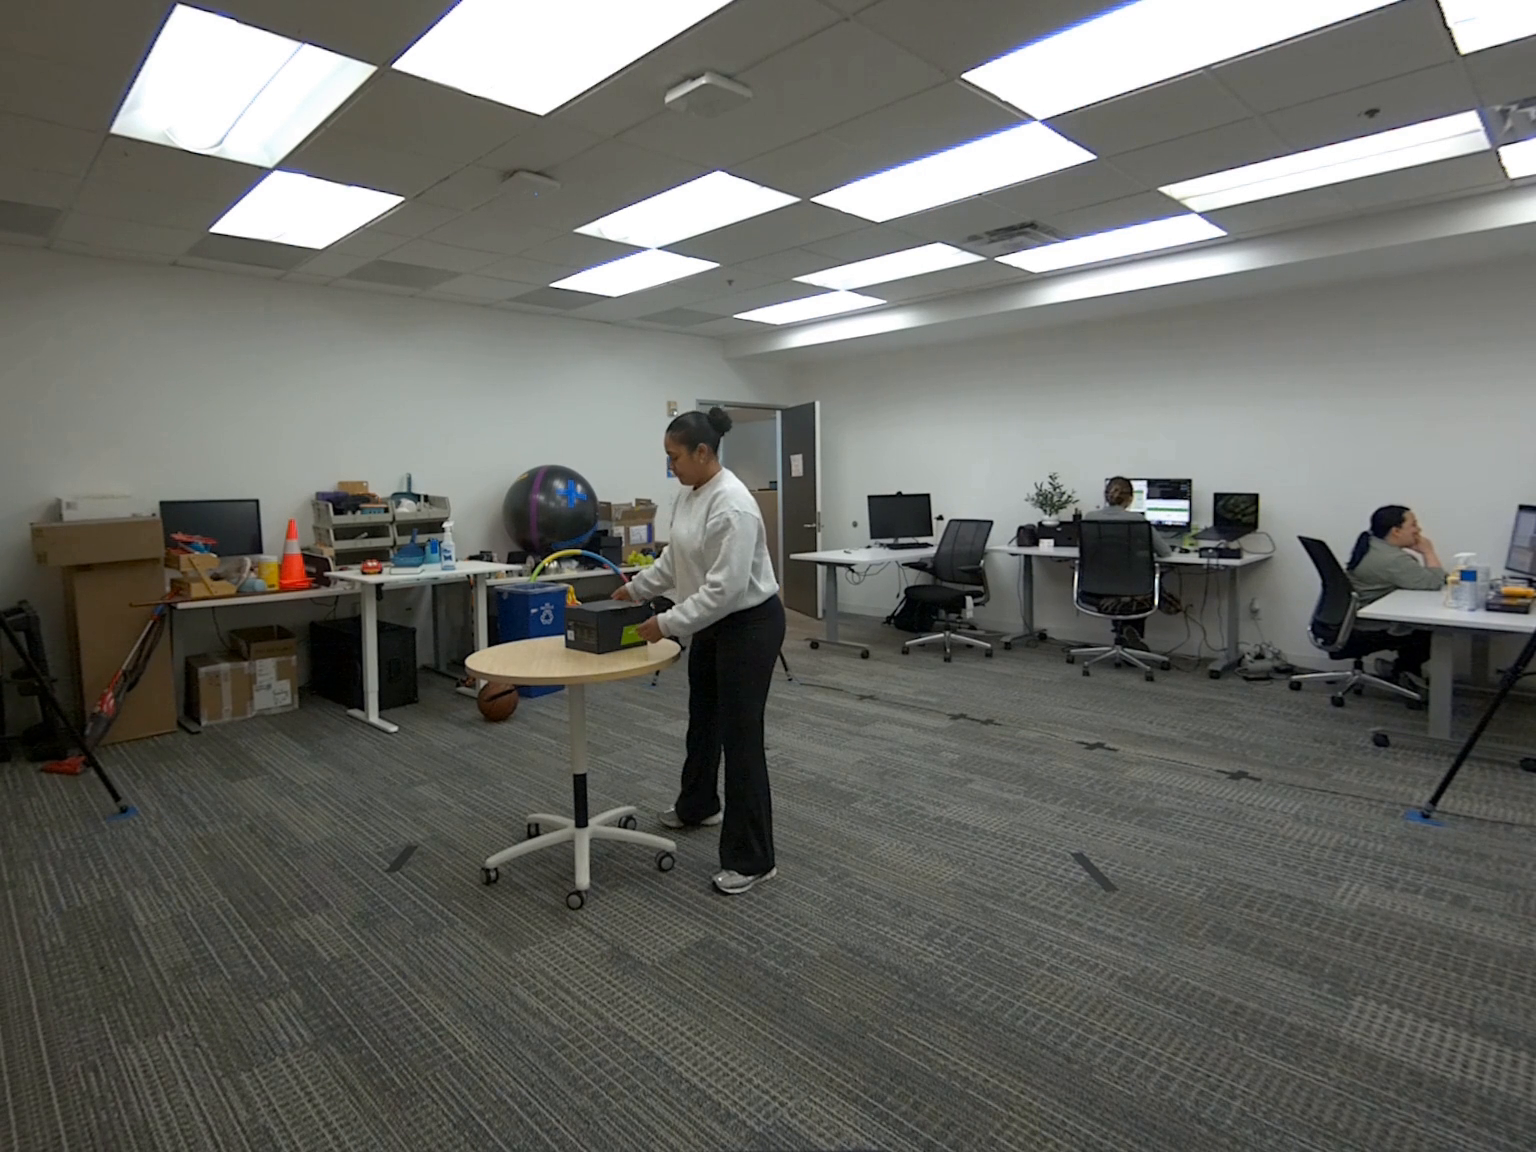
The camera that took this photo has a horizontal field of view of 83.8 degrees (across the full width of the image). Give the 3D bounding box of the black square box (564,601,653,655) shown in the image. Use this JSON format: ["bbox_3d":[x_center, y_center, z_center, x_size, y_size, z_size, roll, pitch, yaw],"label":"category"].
[{"bbox_3d":[-0.601,0.185,3.178,0.222,0.155,0.223,-7,7,-44],"label":"black square box"}]
